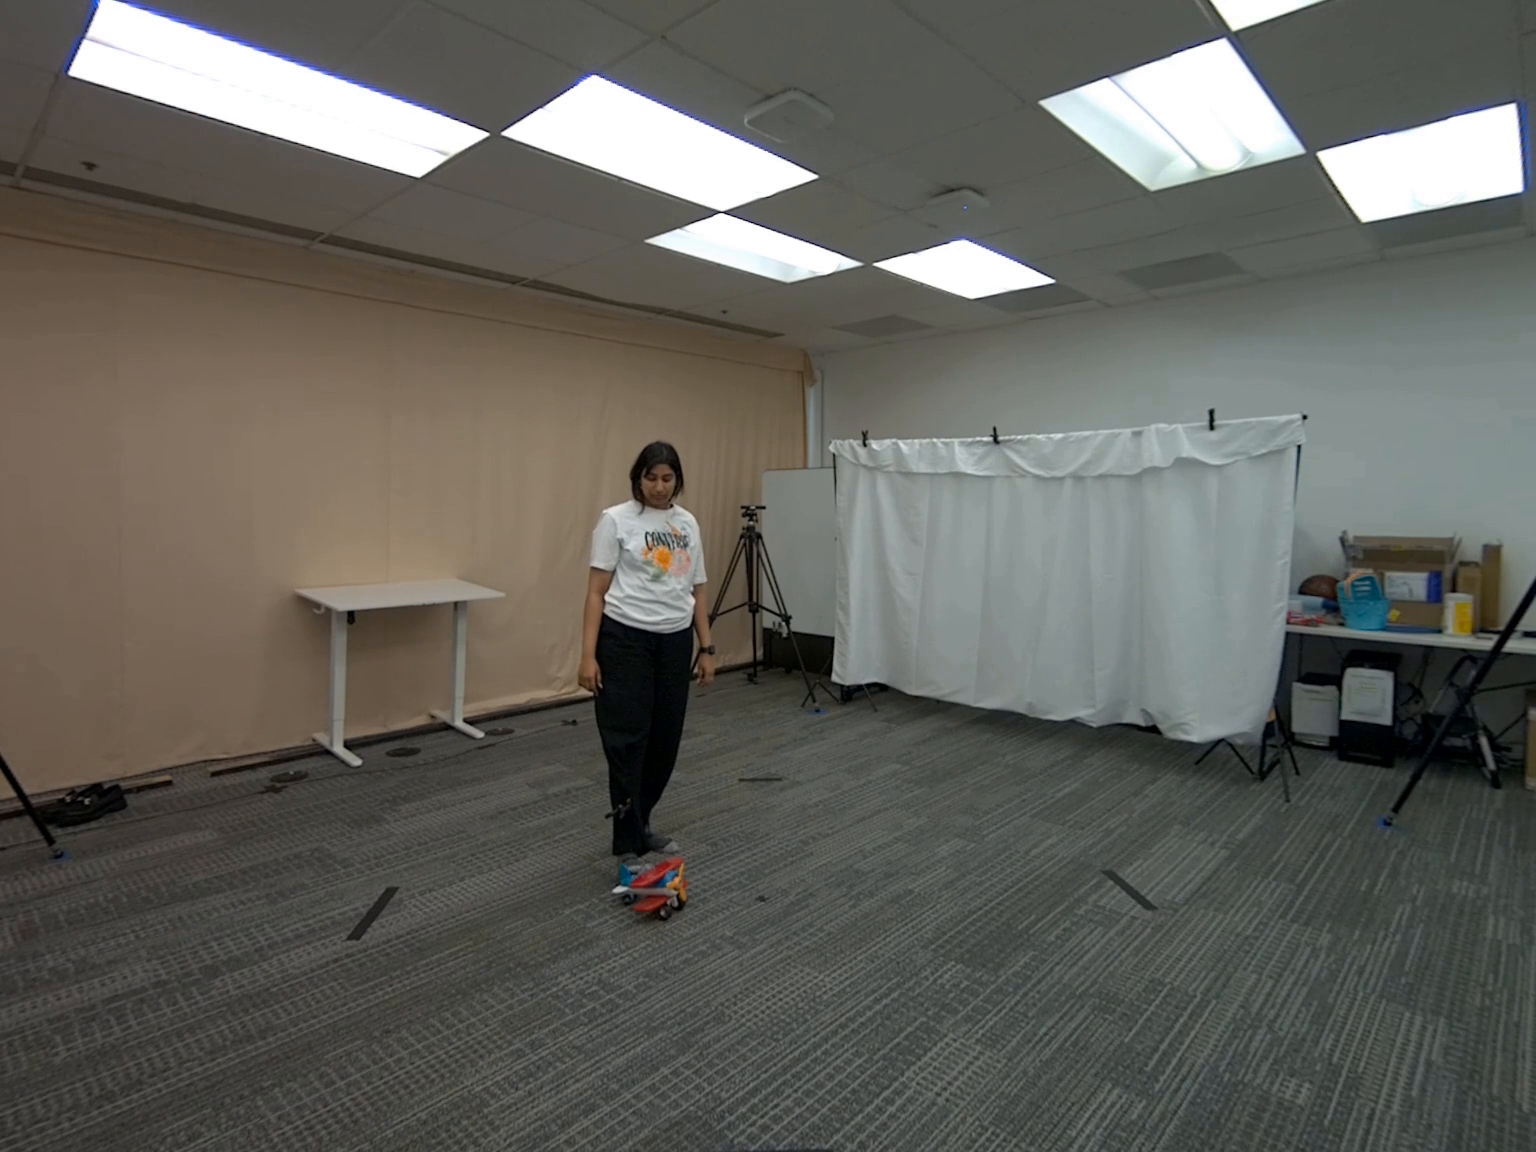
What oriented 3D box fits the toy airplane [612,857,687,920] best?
[{"bbox_3d":[-0.411,1.078,2.890,0.260,0.156,0.251,0,4,1],"label":"toy airplane"}]
